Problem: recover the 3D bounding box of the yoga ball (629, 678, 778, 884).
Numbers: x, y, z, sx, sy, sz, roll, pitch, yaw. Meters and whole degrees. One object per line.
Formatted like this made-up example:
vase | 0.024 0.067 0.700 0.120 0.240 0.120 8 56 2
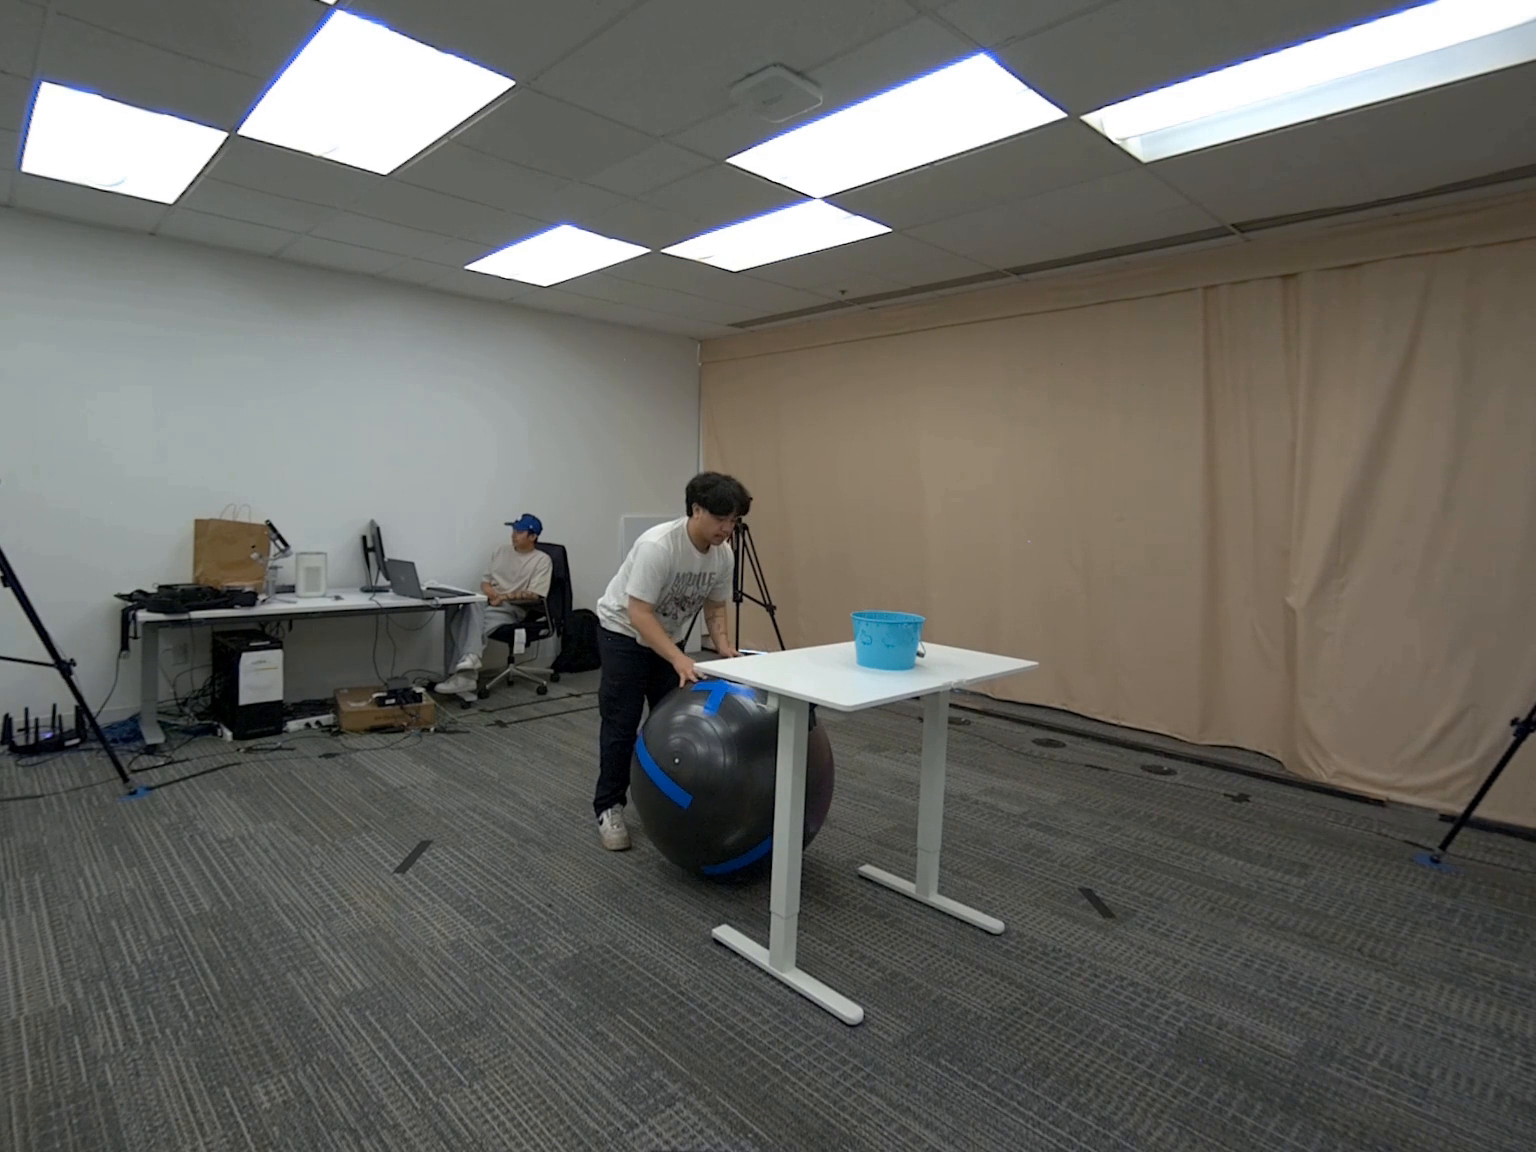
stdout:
yoga ball | -0.138 0.745 3.136 0.757 0.756 0.761 1 4 -1
